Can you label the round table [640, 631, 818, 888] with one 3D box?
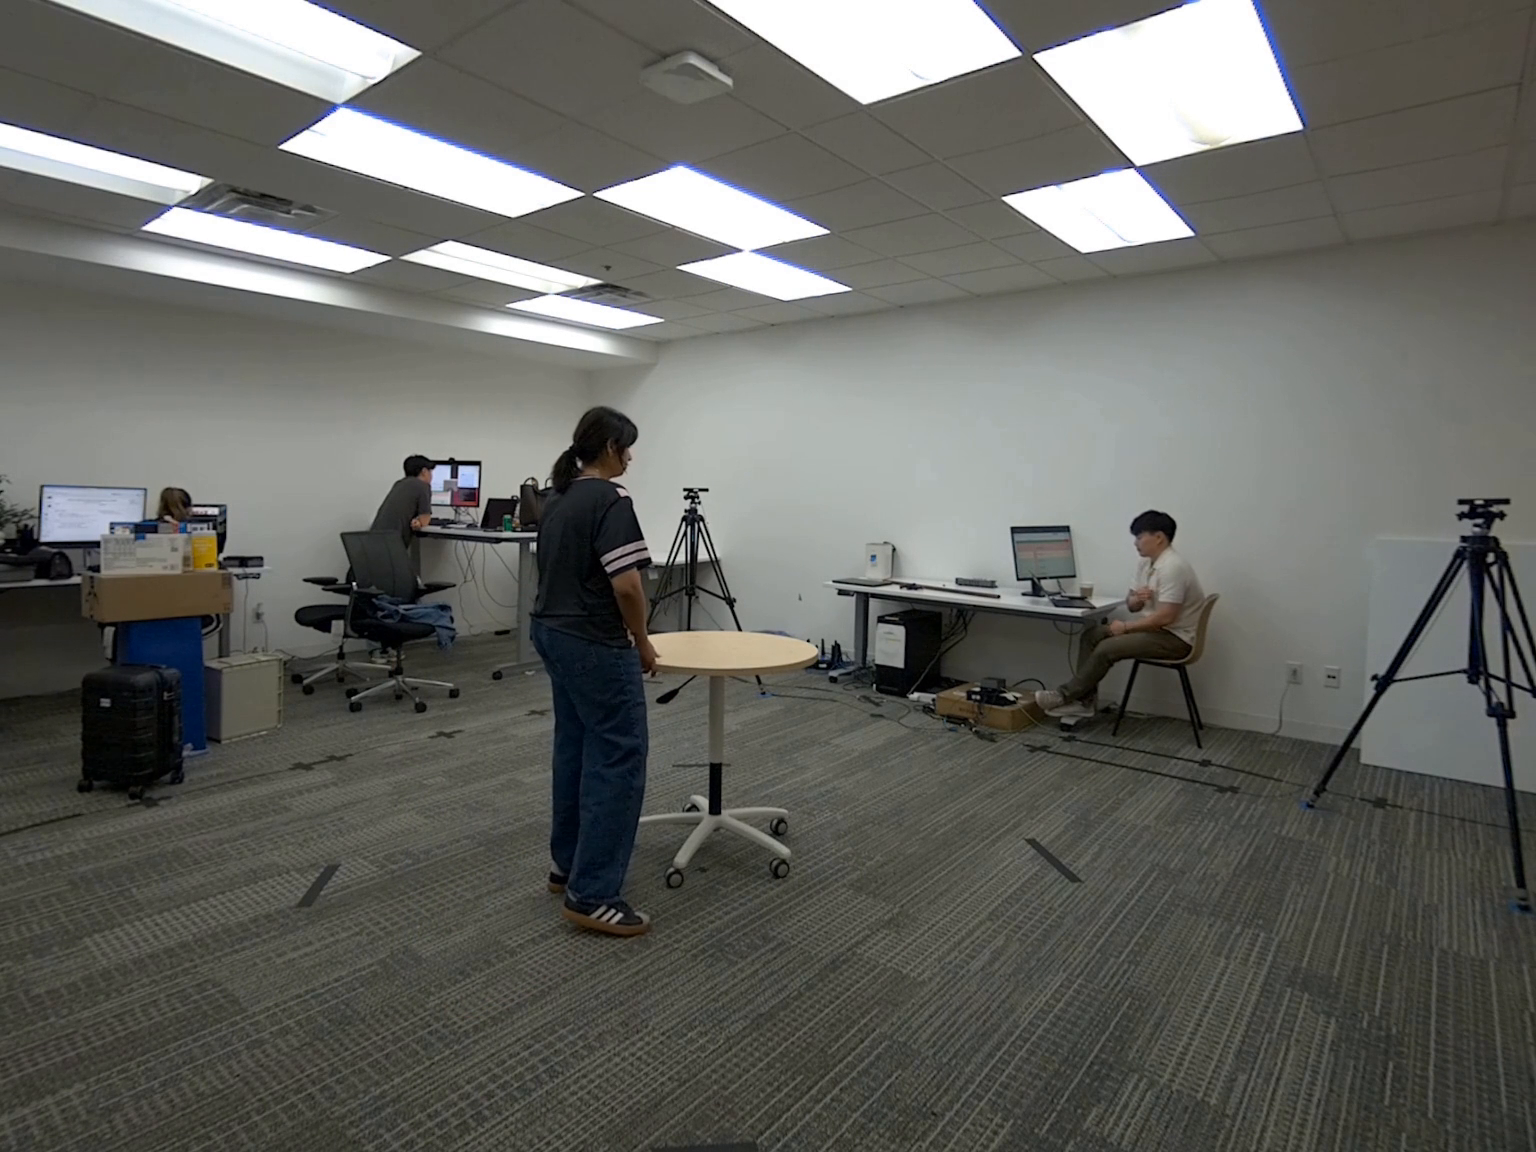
[{"bbox_3d":[-0.194,0.660,3.272,0.784,0.784,0.789,0,4,-2],"label":"round table"}]
